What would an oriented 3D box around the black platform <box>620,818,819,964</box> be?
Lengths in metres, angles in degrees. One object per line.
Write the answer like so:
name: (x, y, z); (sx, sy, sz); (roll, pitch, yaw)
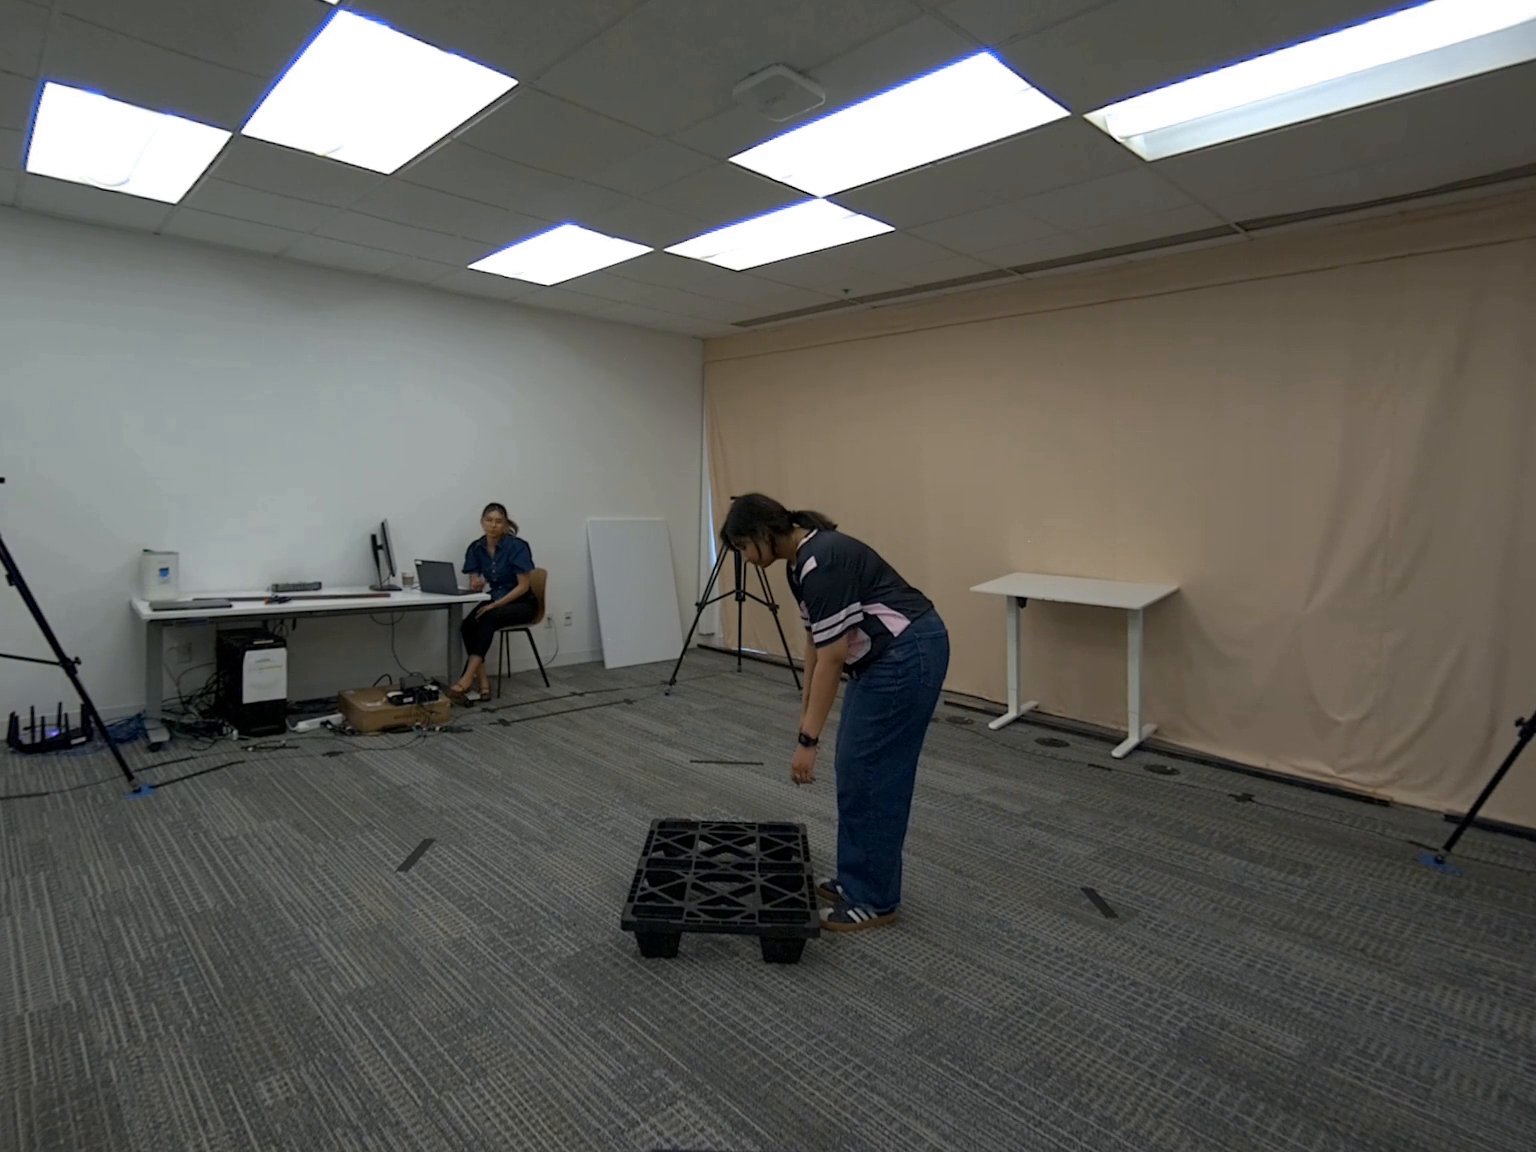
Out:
black platform: (-0.156, 1.055, 2.884); (0.606, 0.143, 0.807); (1, 5, 0)
